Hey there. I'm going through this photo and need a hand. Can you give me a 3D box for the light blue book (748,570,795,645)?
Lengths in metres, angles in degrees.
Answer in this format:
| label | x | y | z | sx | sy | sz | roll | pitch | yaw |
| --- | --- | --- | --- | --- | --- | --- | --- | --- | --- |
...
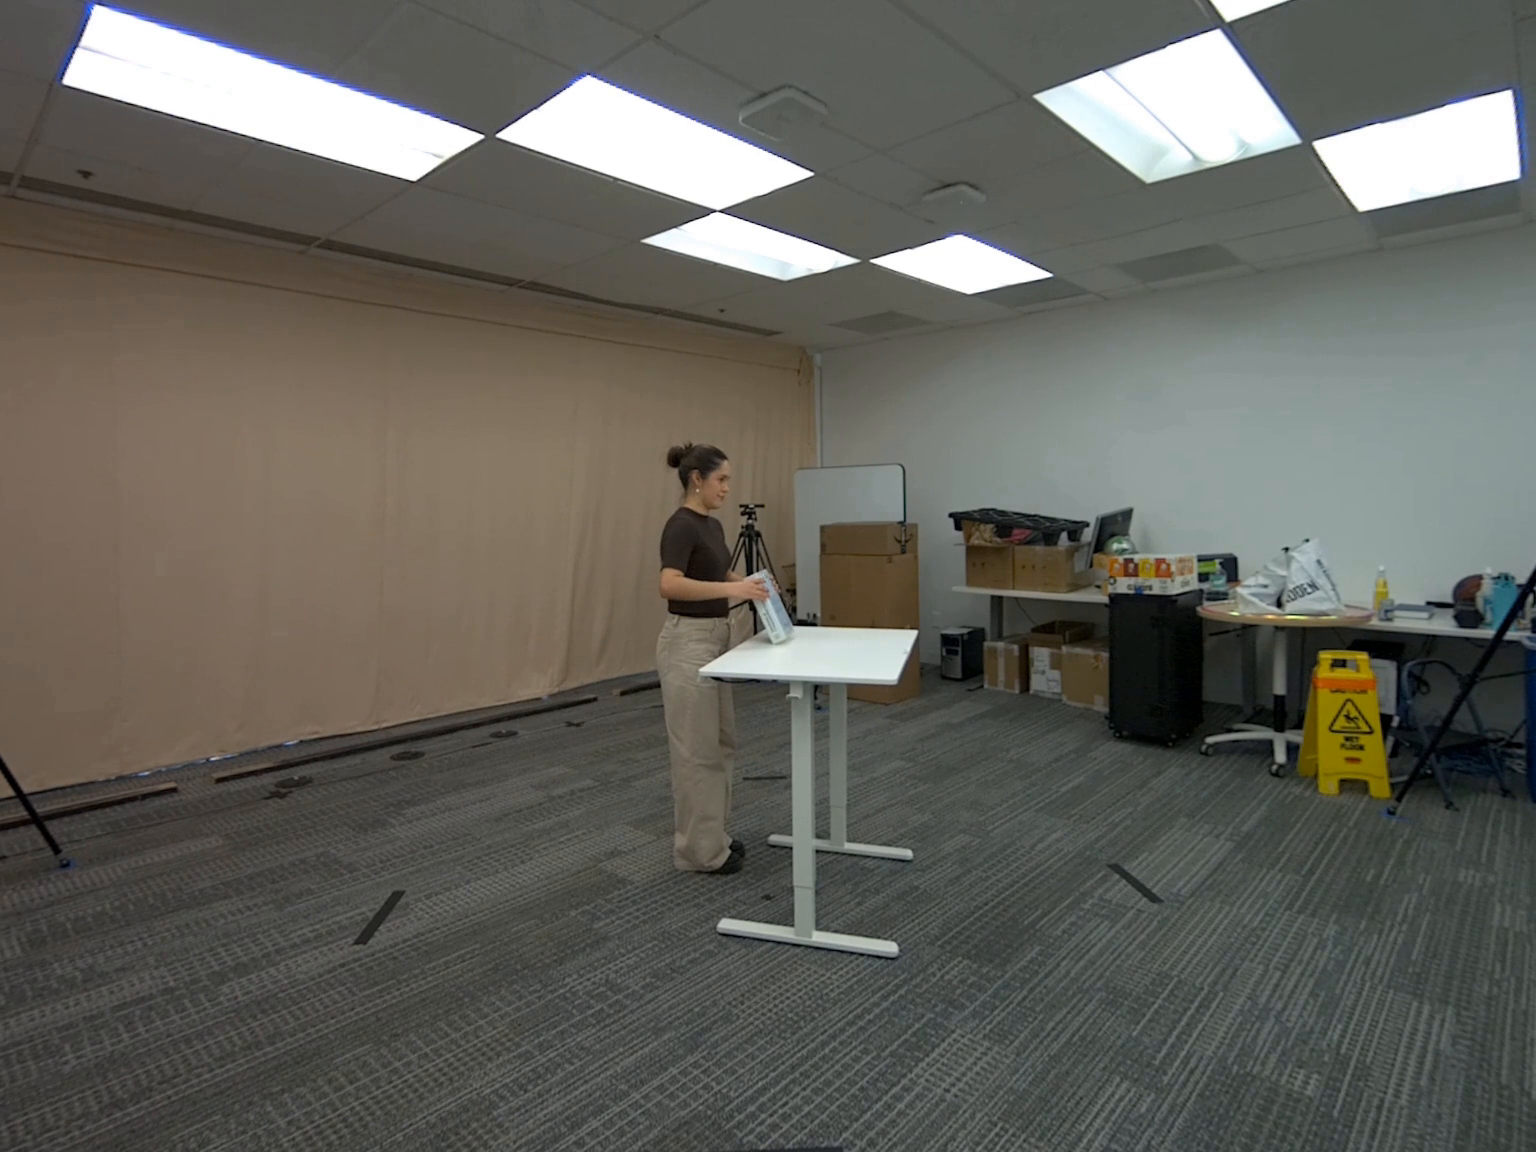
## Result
| label | x | y | z | sx | sy | sz | roll | pitch | yaw |
| --- | --- | --- | --- | --- | --- | --- | --- | --- | --- |
| light blue book | 0.013 | 0.115 | 3.141 | 0.059 | 0.262 | 0.189 | -23 | -2 | 11 |
